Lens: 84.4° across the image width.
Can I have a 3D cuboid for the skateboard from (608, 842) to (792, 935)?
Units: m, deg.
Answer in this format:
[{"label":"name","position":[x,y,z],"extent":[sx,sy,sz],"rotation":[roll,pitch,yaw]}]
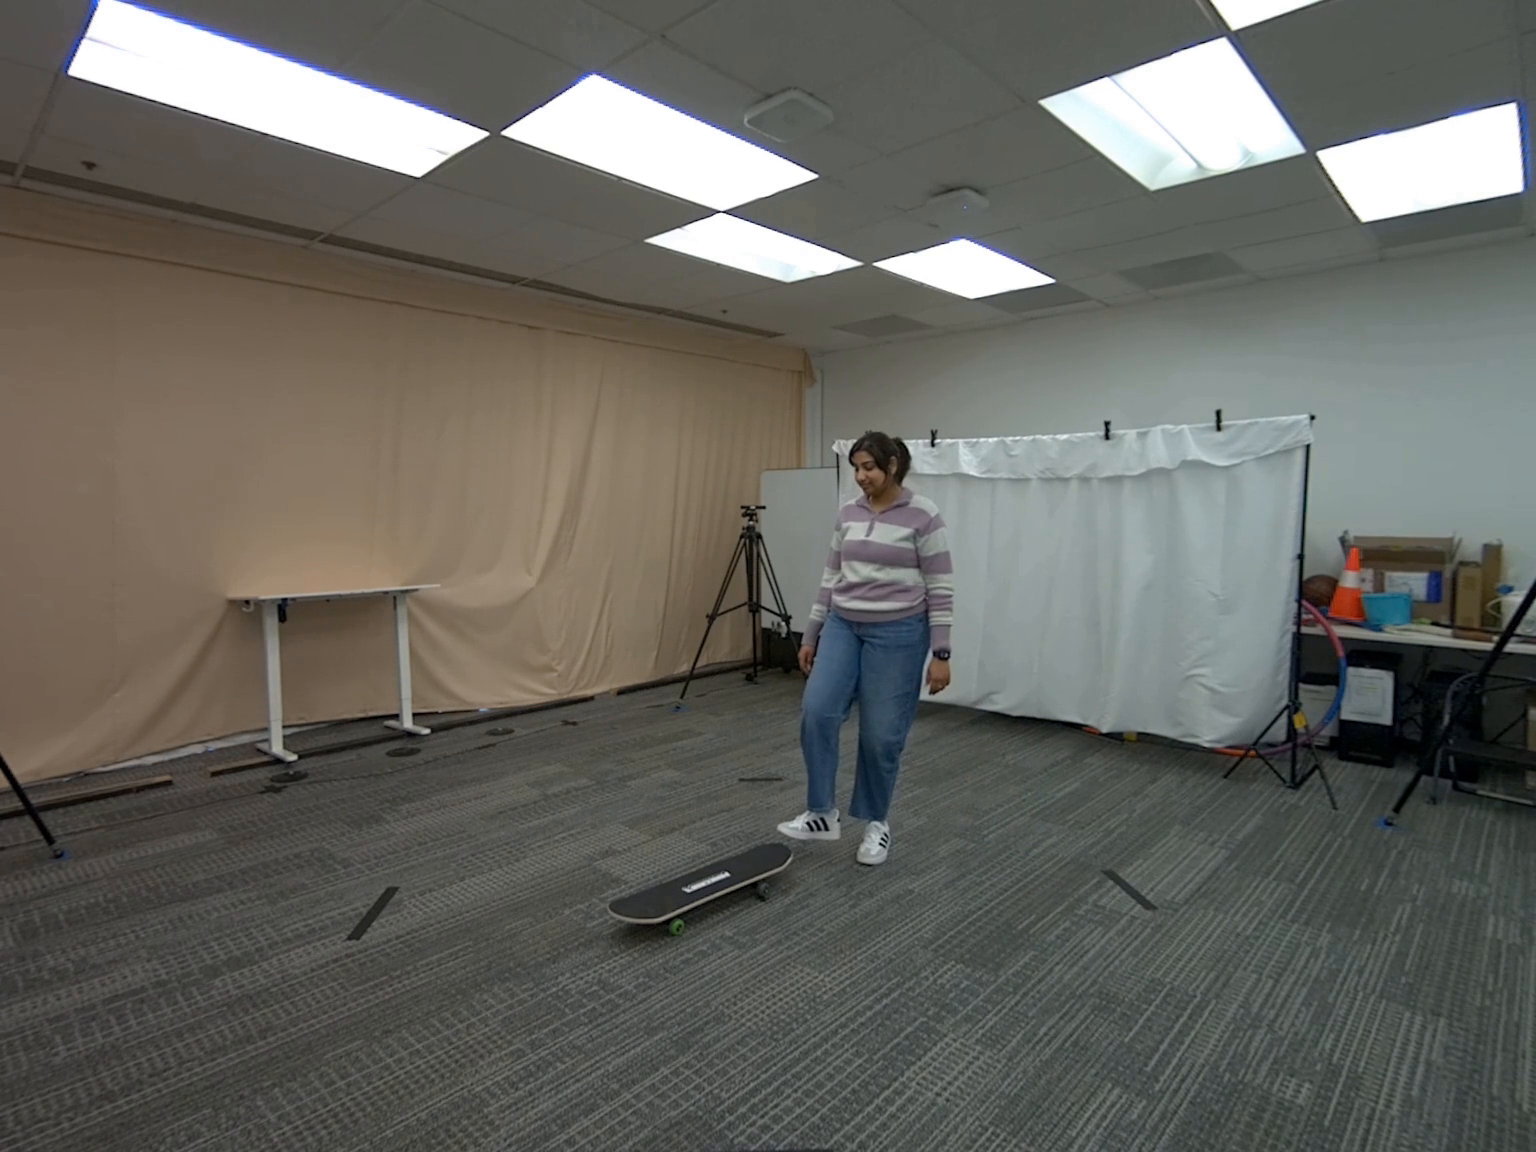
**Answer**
[{"label":"skateboard","position":[-0.214,1.096,2.915],"extent":[0.761,0.110,0.200],"rotation":[-5,5,-43]}]
